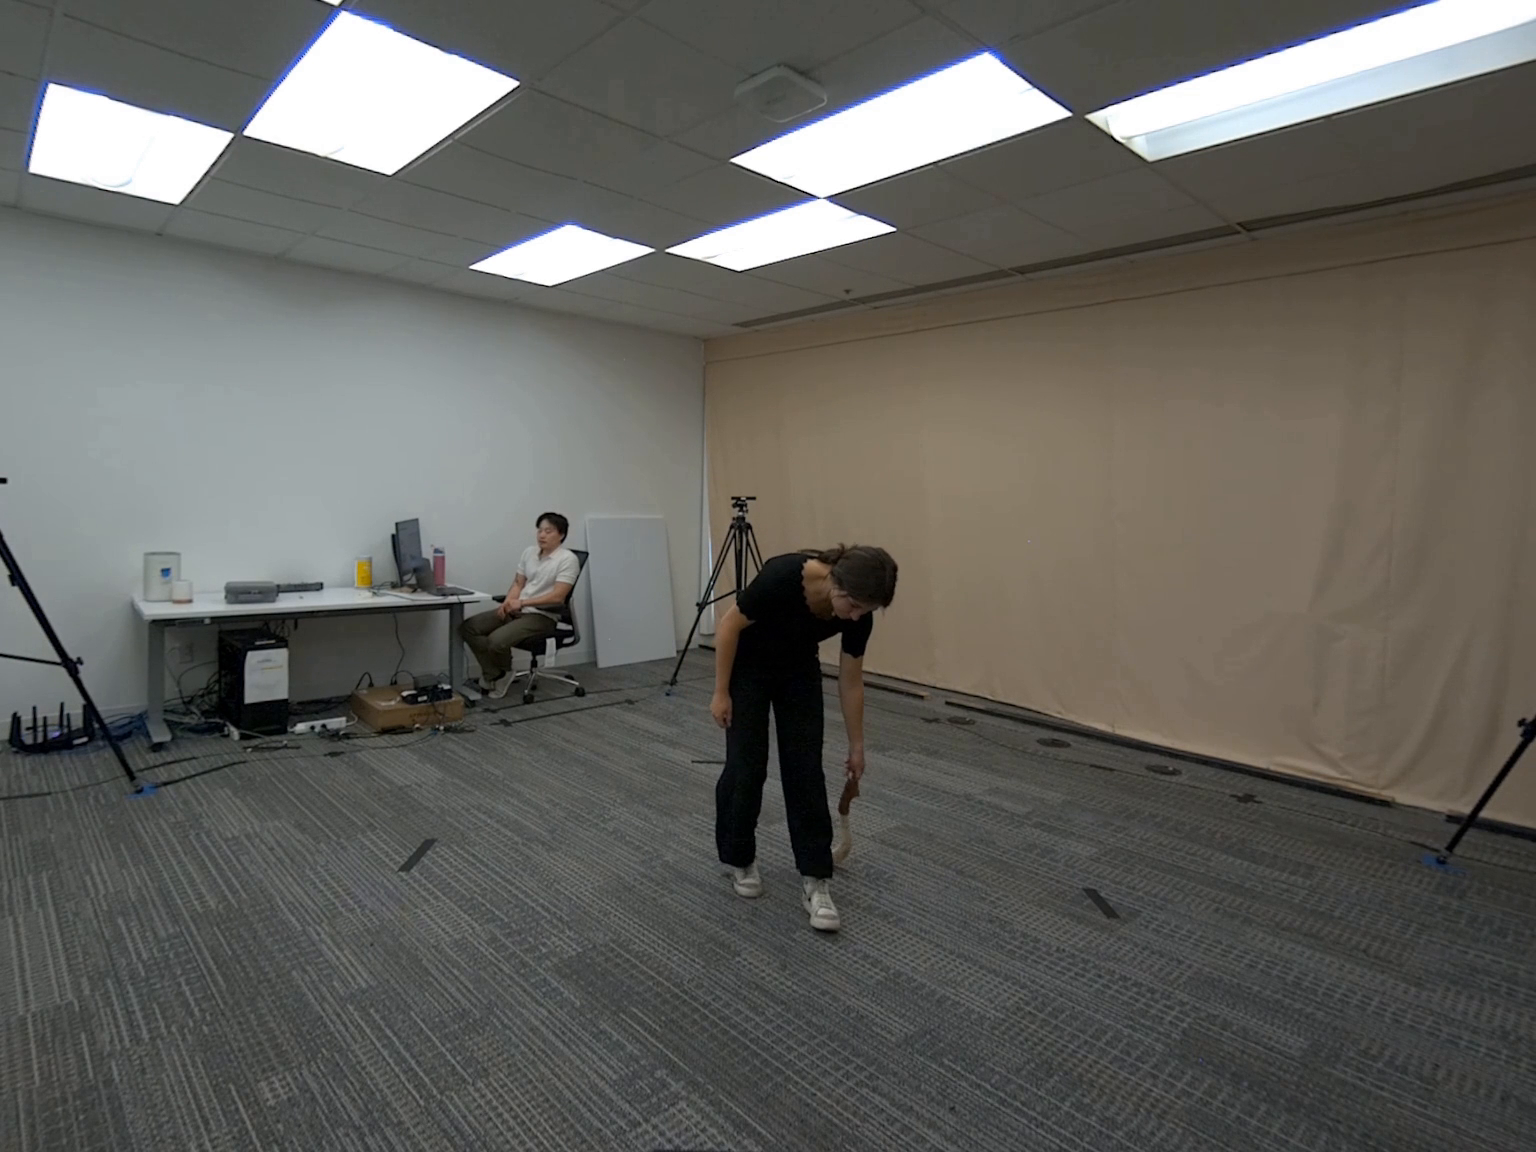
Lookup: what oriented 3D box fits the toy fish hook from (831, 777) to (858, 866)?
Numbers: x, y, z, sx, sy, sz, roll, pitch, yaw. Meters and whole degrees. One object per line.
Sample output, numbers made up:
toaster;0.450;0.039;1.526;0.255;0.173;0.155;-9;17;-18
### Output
toy fish hook;0.217;0.892;3.063;0.222;0.498;0.049;3;30;-11
